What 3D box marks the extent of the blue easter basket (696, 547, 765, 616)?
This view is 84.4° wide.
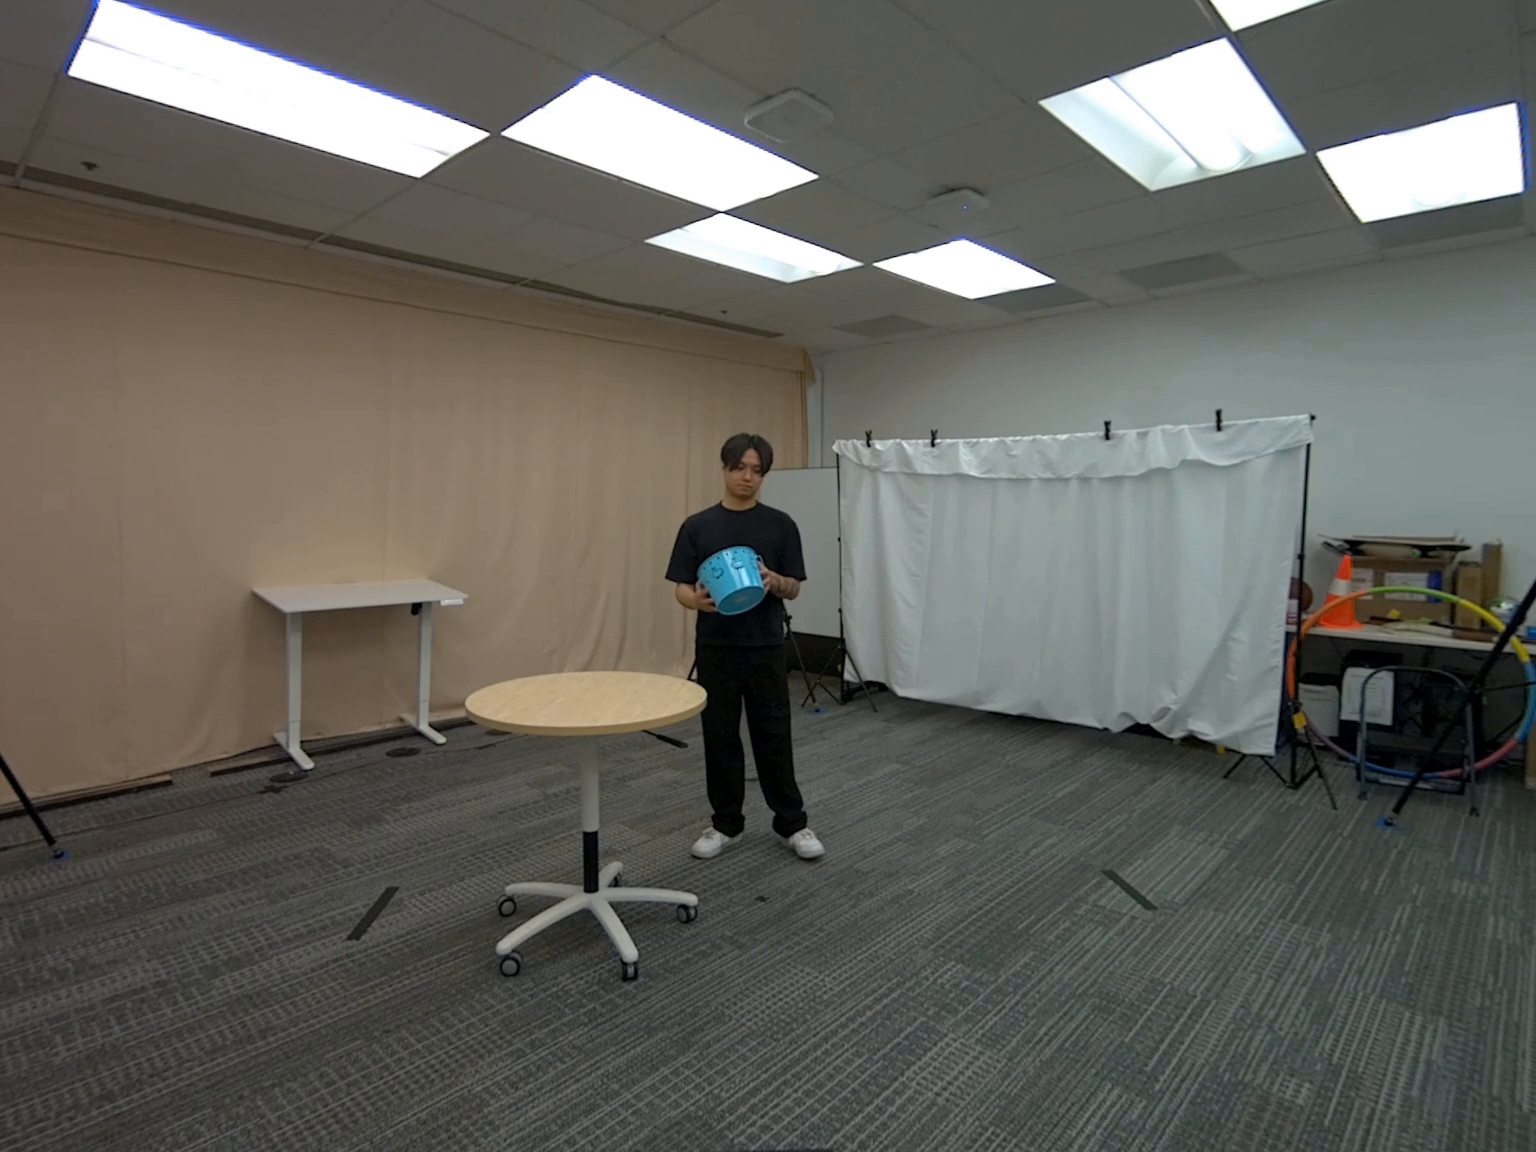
[{"bbox_3d":[-0.126,0.023,3.034,0.241,0.160,0.240,-16,-29,-11],"label":"blue easter basket"}]
